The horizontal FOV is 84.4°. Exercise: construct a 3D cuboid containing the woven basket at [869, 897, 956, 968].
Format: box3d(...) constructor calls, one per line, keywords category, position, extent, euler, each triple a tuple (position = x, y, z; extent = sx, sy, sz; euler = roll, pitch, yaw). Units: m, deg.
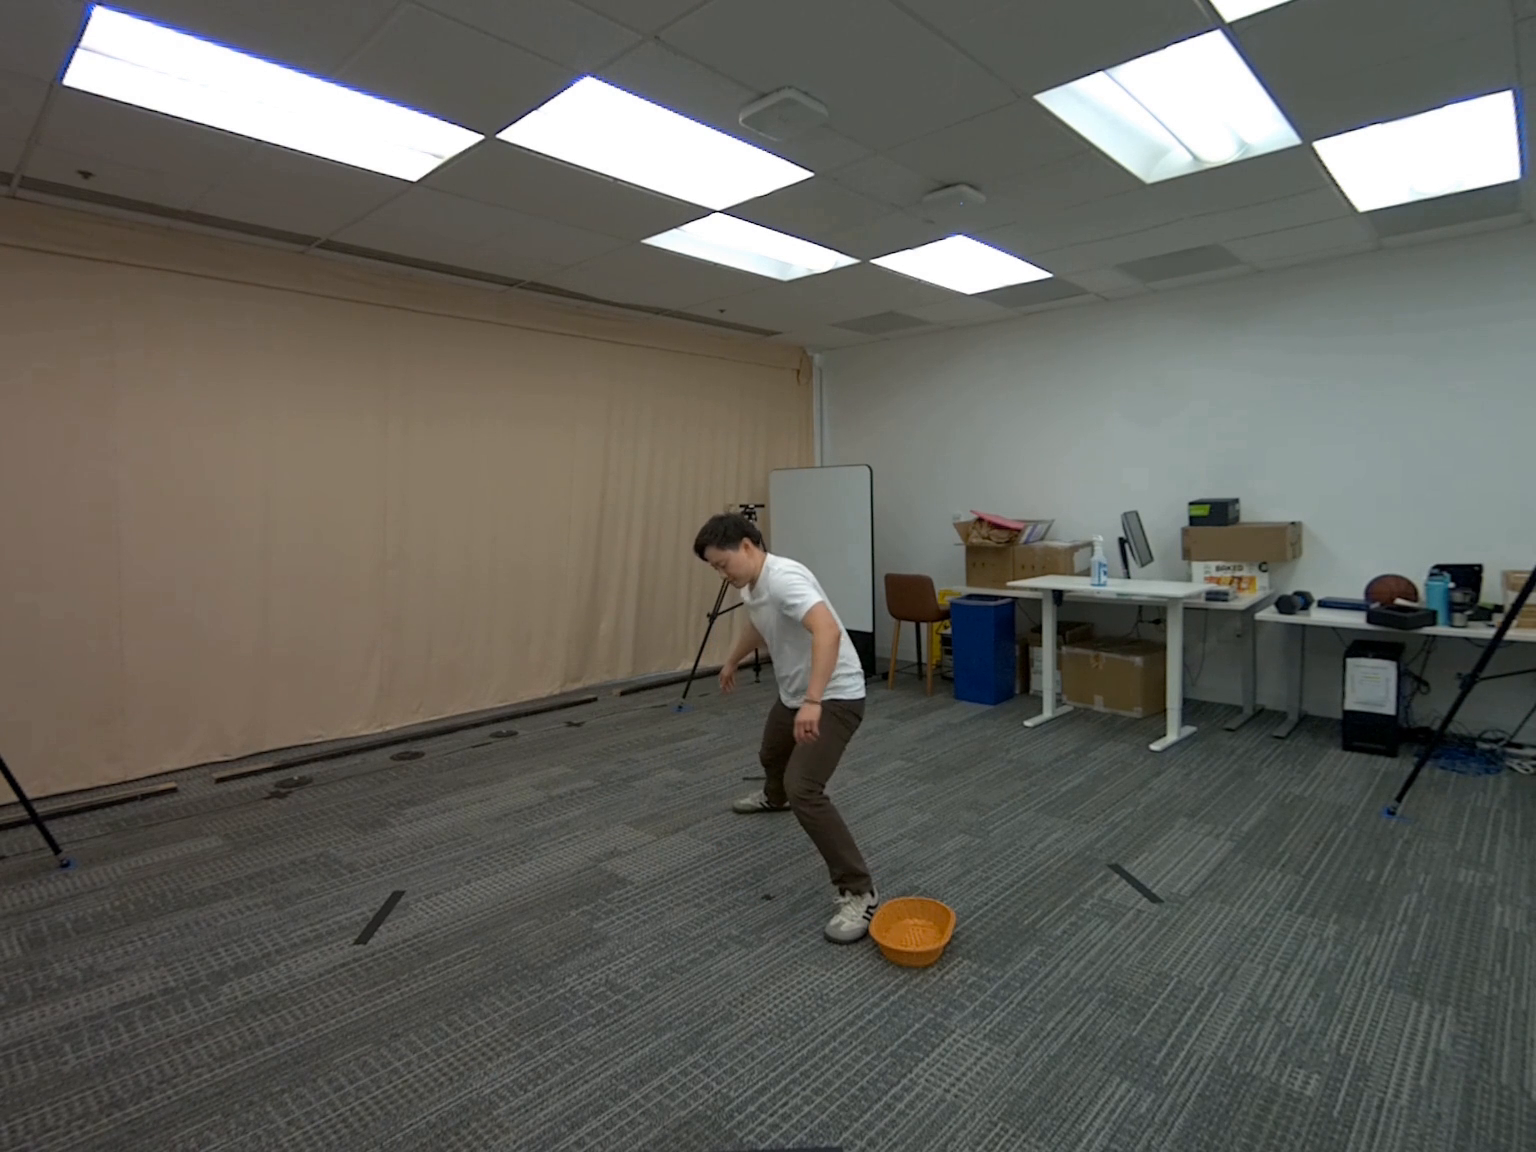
box3d(category="woven basket", position=(0.457, 1.119, 2.657), extent=(0.259, 0.073, 0.343), euler=(0, 5, 24))
